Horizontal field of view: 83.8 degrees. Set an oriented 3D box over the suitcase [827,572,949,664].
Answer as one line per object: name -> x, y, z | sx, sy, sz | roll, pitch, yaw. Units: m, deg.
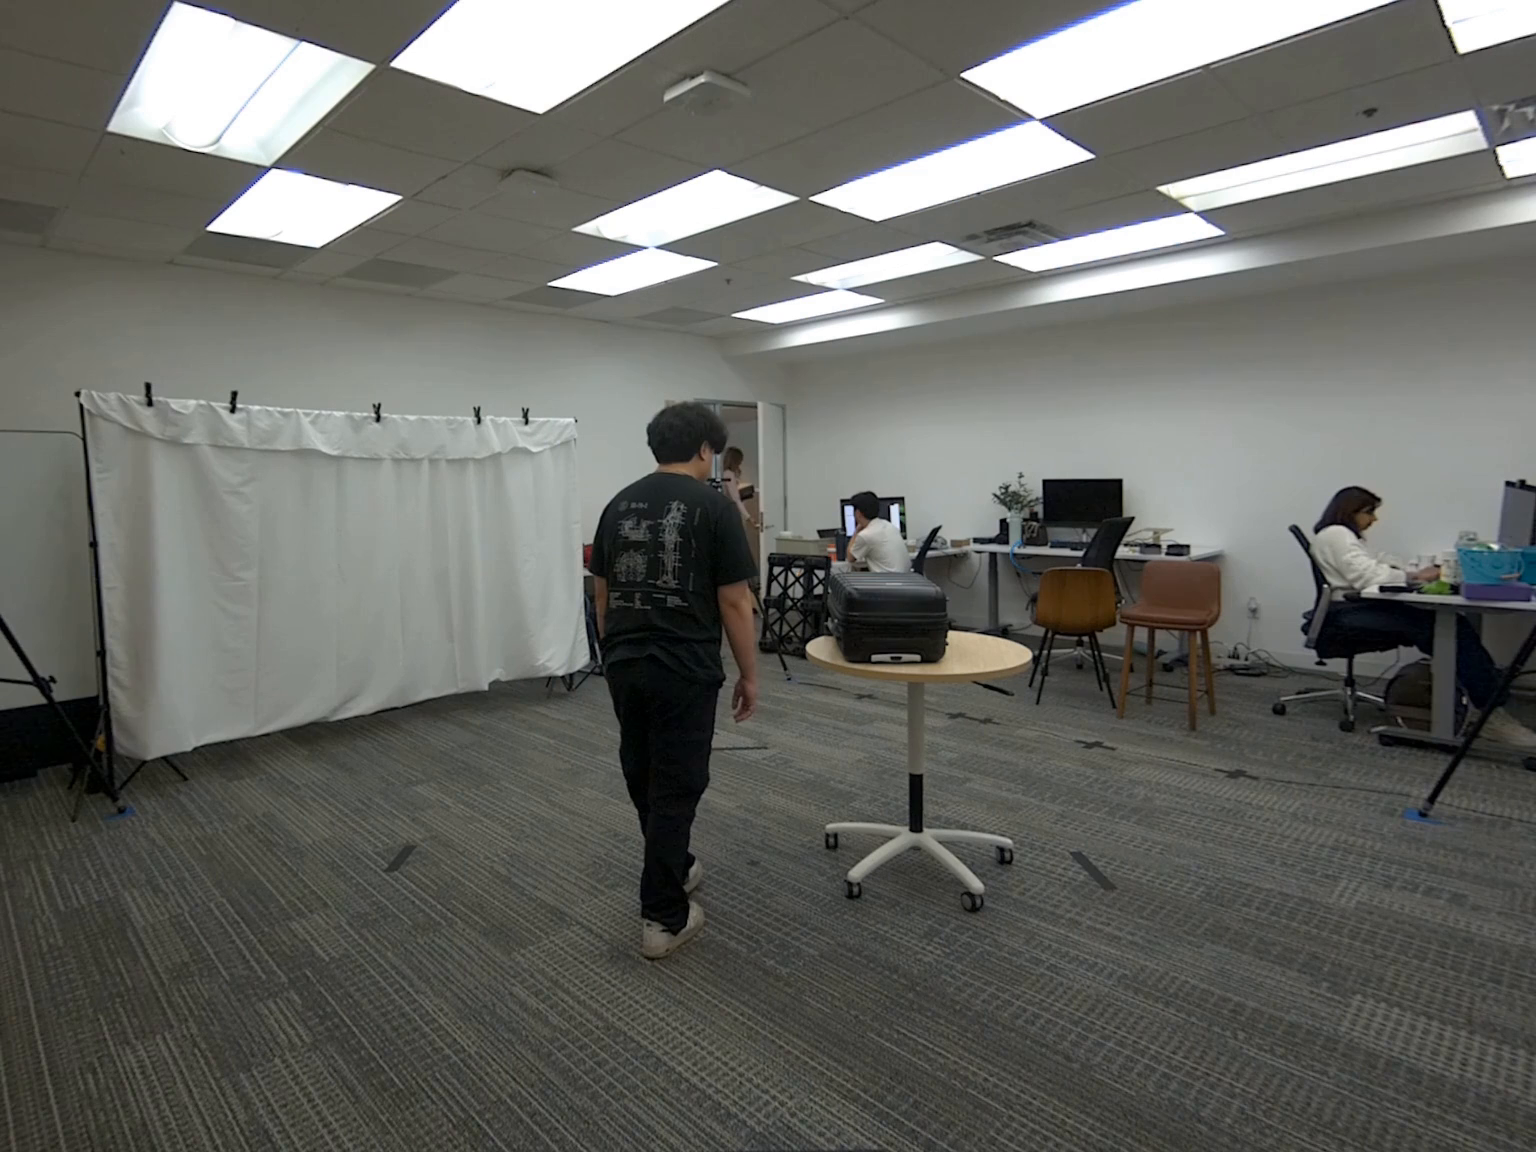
suitcase -> 0.413, 0.133, 2.983 | 0.376, 0.247, 0.551 | 2, 7, 1
